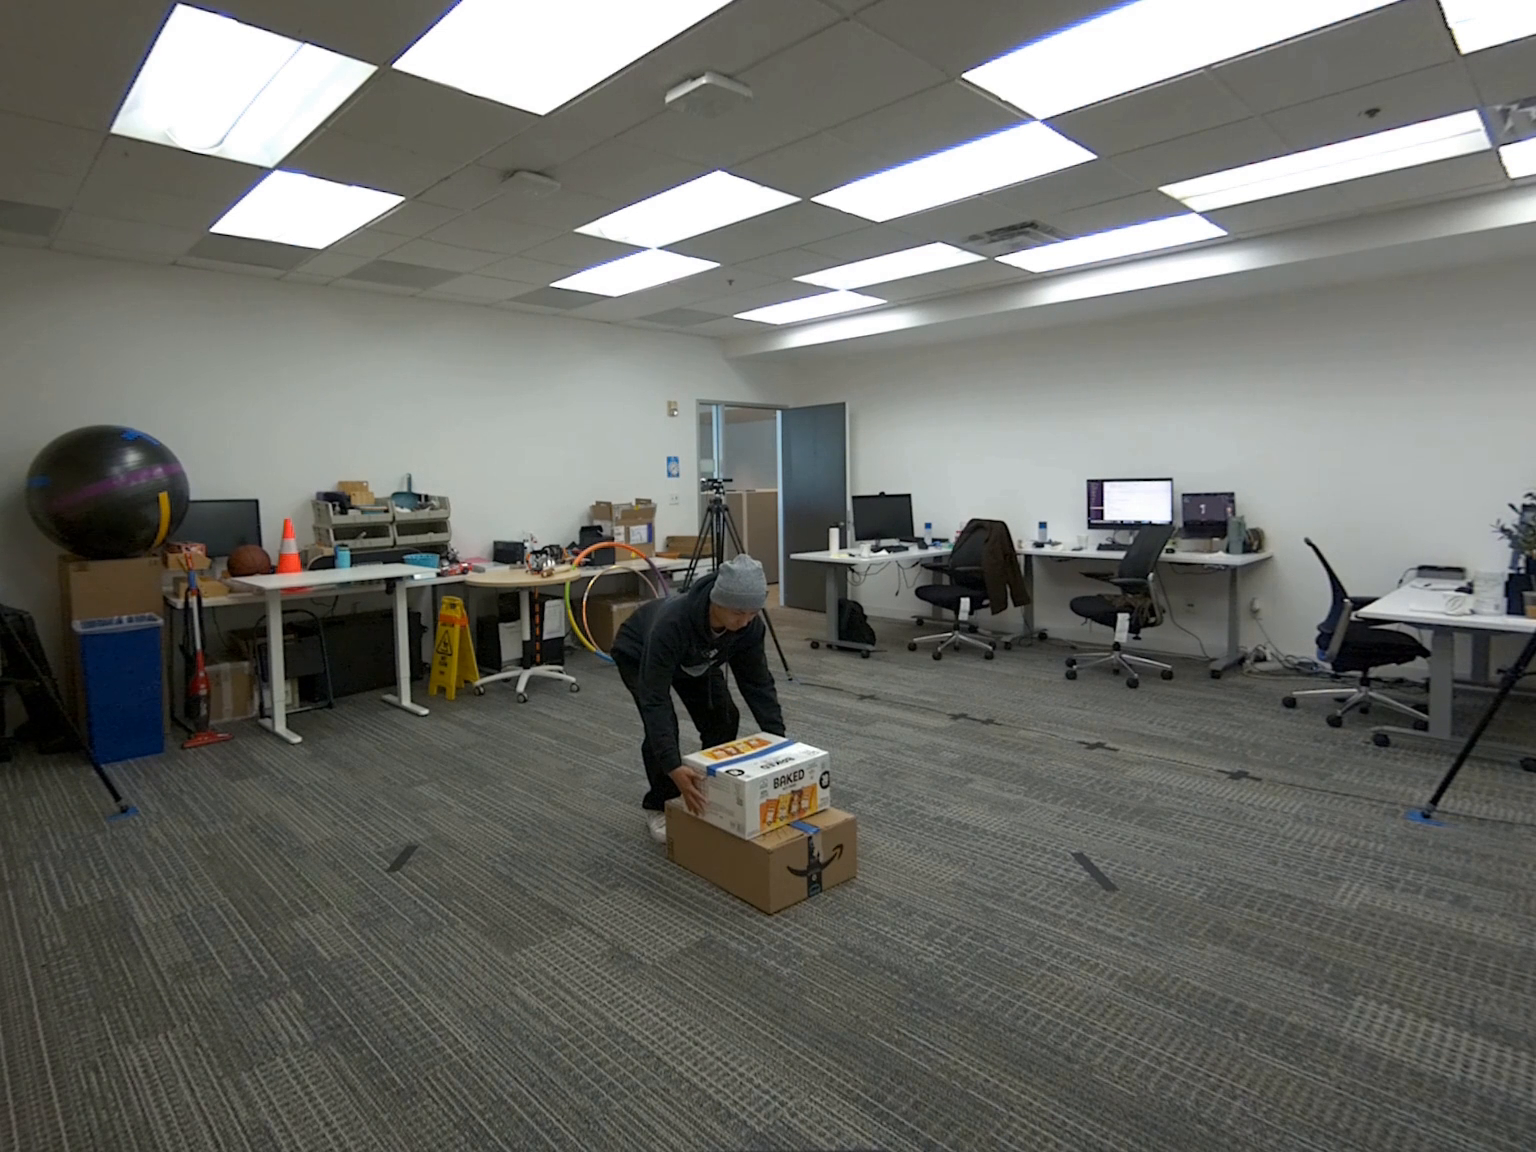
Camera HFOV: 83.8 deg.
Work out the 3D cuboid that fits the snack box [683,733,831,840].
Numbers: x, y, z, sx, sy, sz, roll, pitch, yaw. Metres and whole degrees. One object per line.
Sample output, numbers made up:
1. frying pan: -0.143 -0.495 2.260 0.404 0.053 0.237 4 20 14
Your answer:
1. snack box: -0.041 0.734 3.032 0.395 0.205 0.351 -7 8 -42
